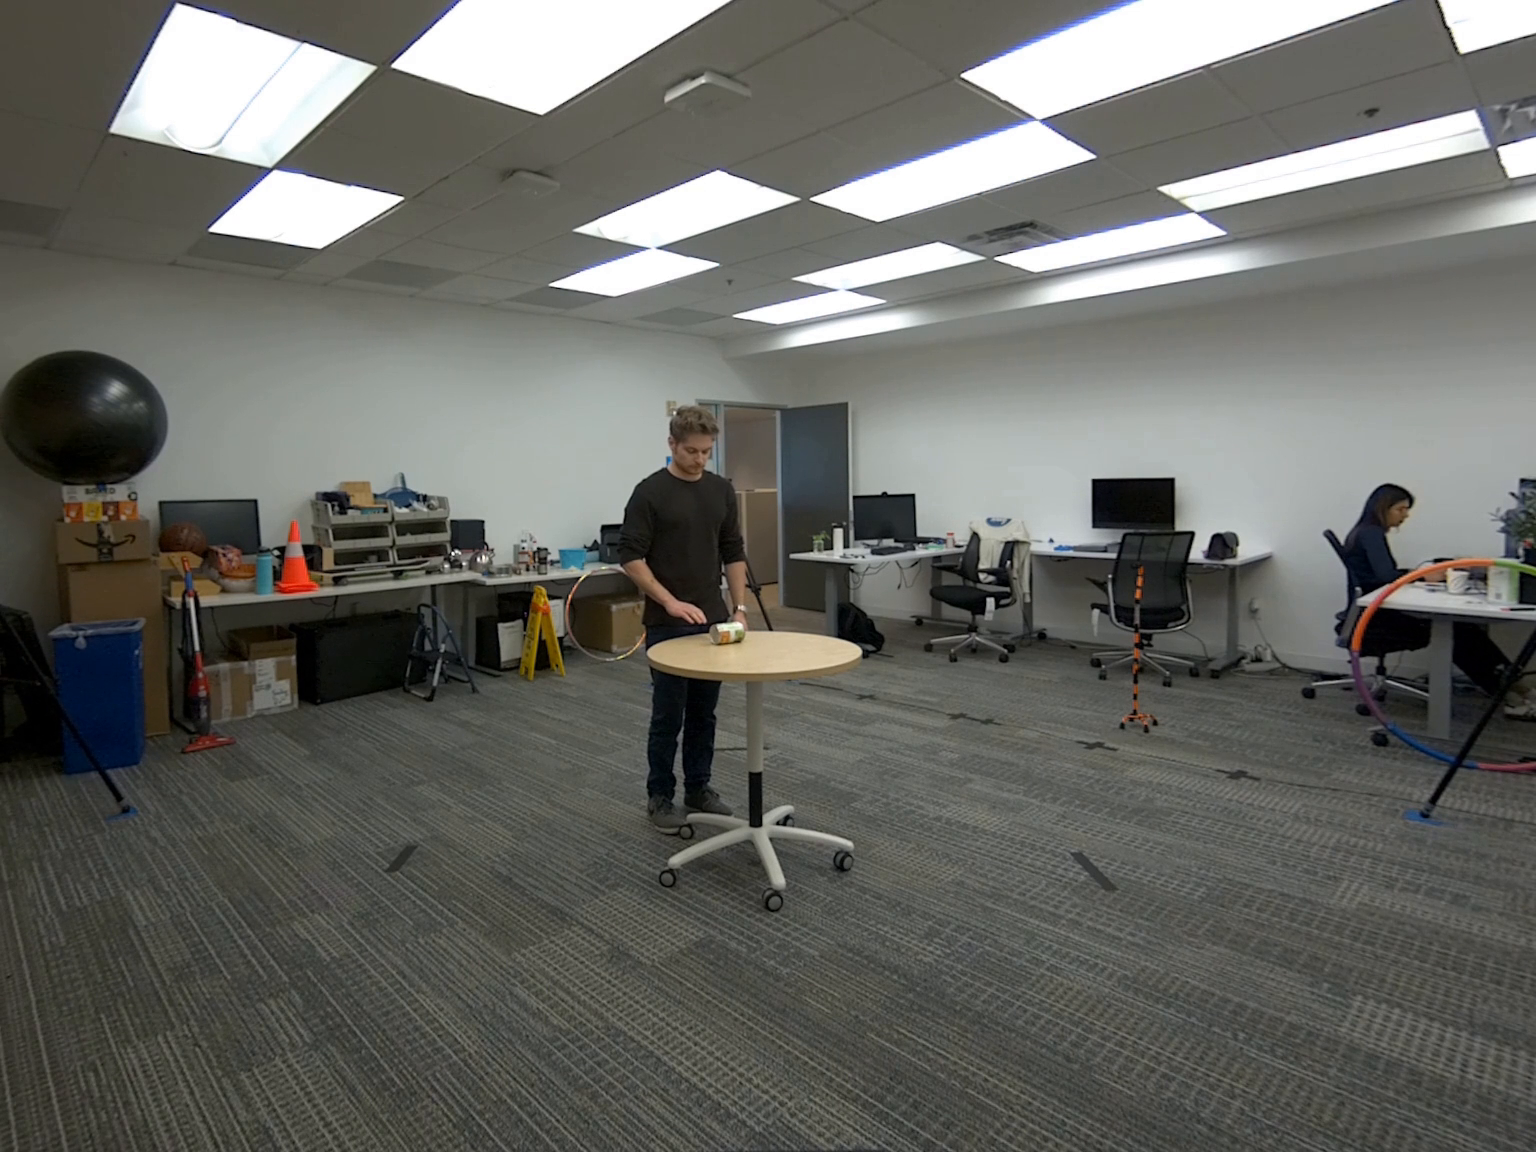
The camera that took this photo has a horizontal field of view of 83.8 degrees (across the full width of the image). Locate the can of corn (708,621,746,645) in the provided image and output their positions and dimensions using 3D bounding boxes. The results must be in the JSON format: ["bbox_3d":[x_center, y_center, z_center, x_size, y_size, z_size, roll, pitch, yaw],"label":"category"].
[{"bbox_3d":[-0.151,0.213,3.187,0.108,0.074,0.076,-4,6,-32],"label":"can of corn"}]
